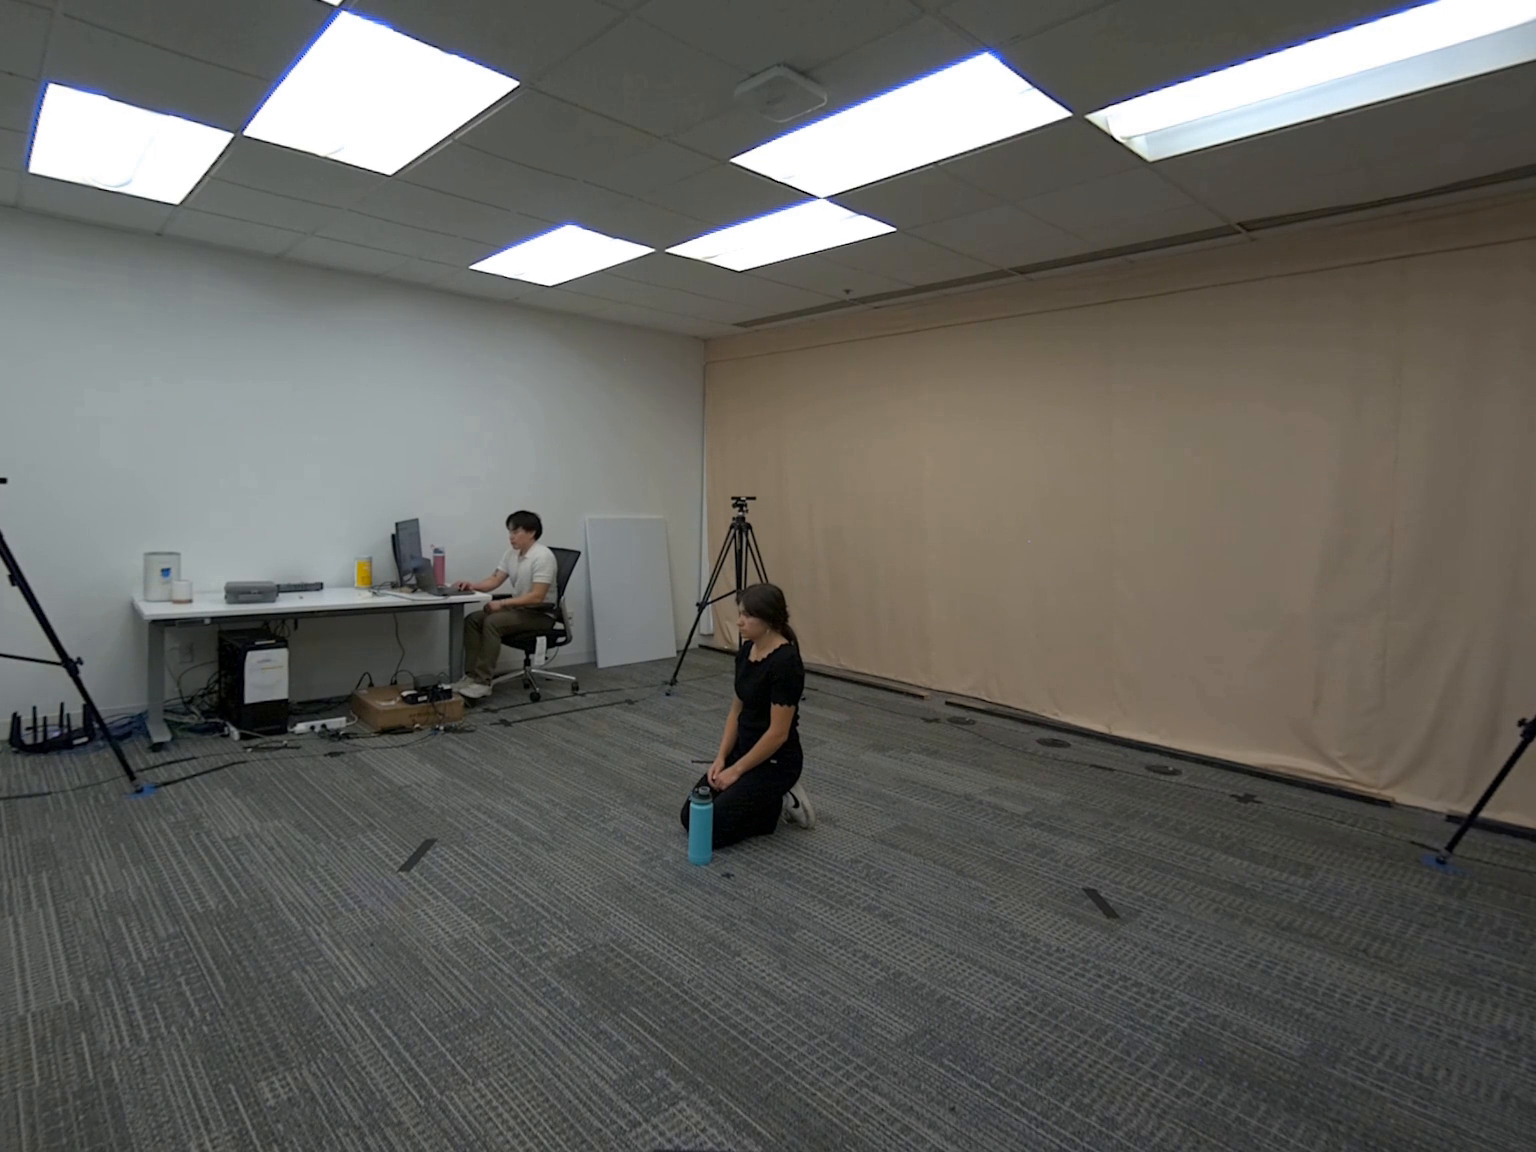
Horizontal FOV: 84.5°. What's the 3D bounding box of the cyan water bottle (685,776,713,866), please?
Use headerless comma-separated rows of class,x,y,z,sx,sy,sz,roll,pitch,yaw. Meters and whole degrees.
cyan water bottle,-0.267,0.953,3.227,0.092,0.283,0.092,2,2,-1
